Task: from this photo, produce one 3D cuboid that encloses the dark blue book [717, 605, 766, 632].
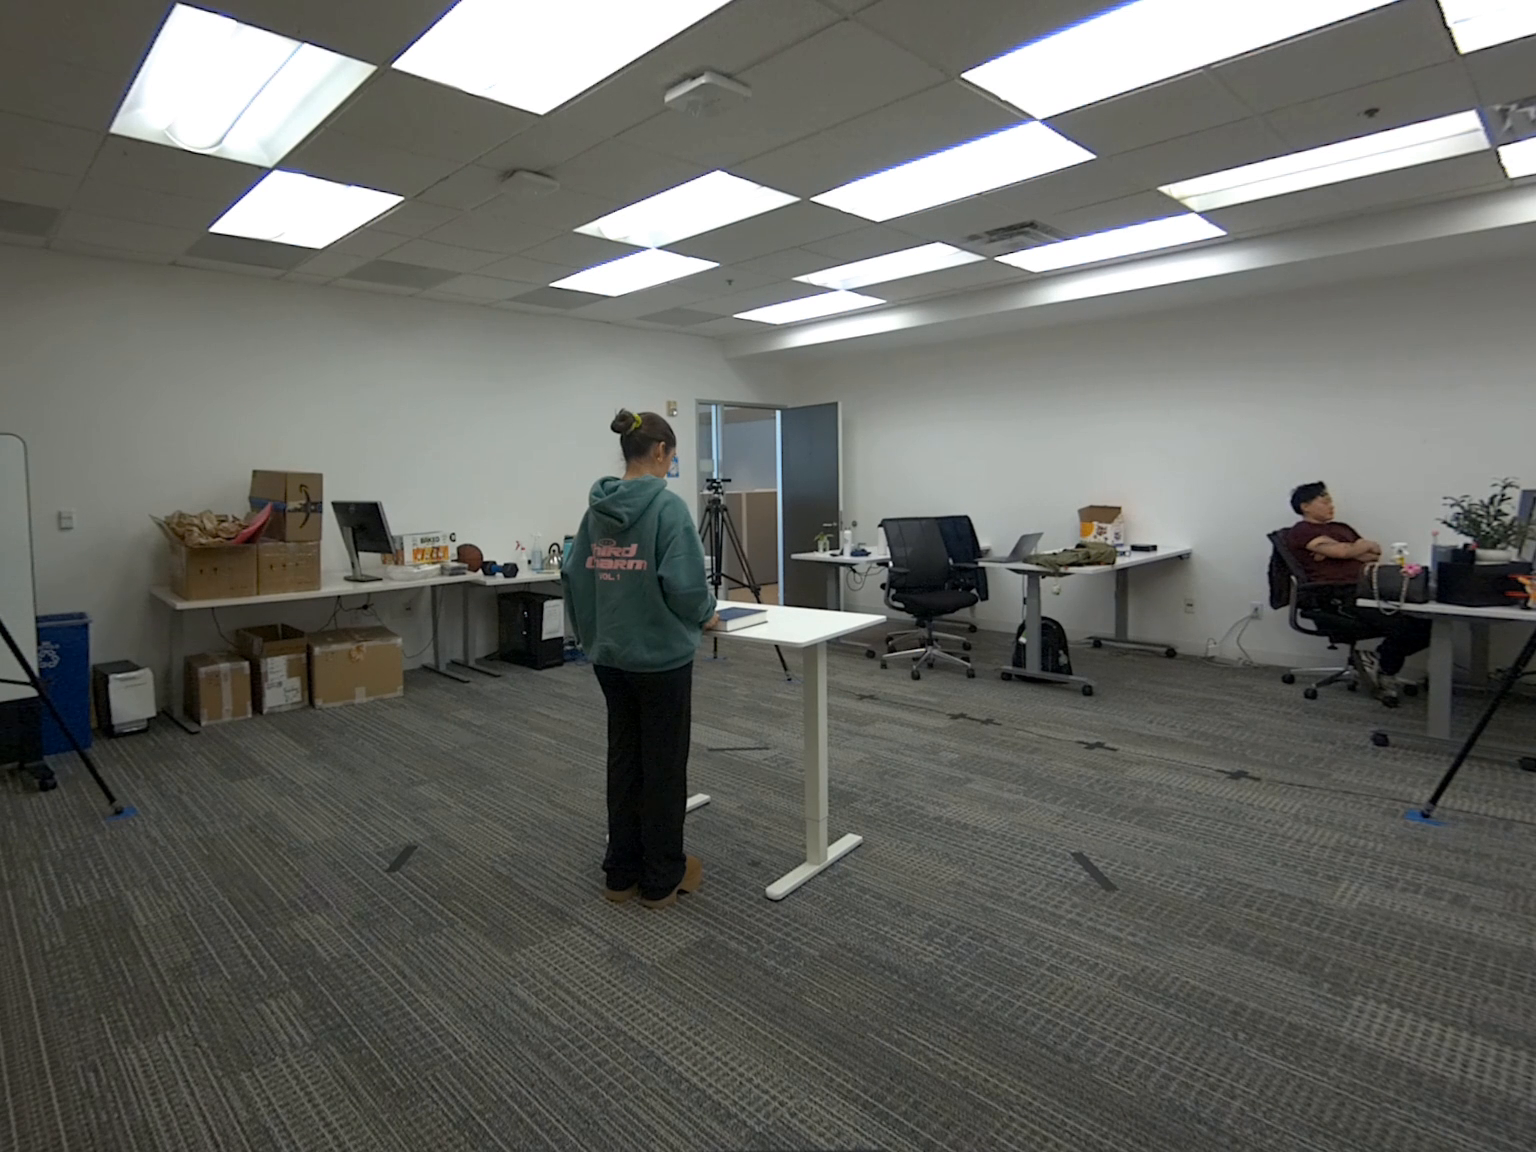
[{"bbox_3d":[-0.128,0.154,3.027,0.168,0.045,0.239,3,8,33],"label":"dark blue book"}]
